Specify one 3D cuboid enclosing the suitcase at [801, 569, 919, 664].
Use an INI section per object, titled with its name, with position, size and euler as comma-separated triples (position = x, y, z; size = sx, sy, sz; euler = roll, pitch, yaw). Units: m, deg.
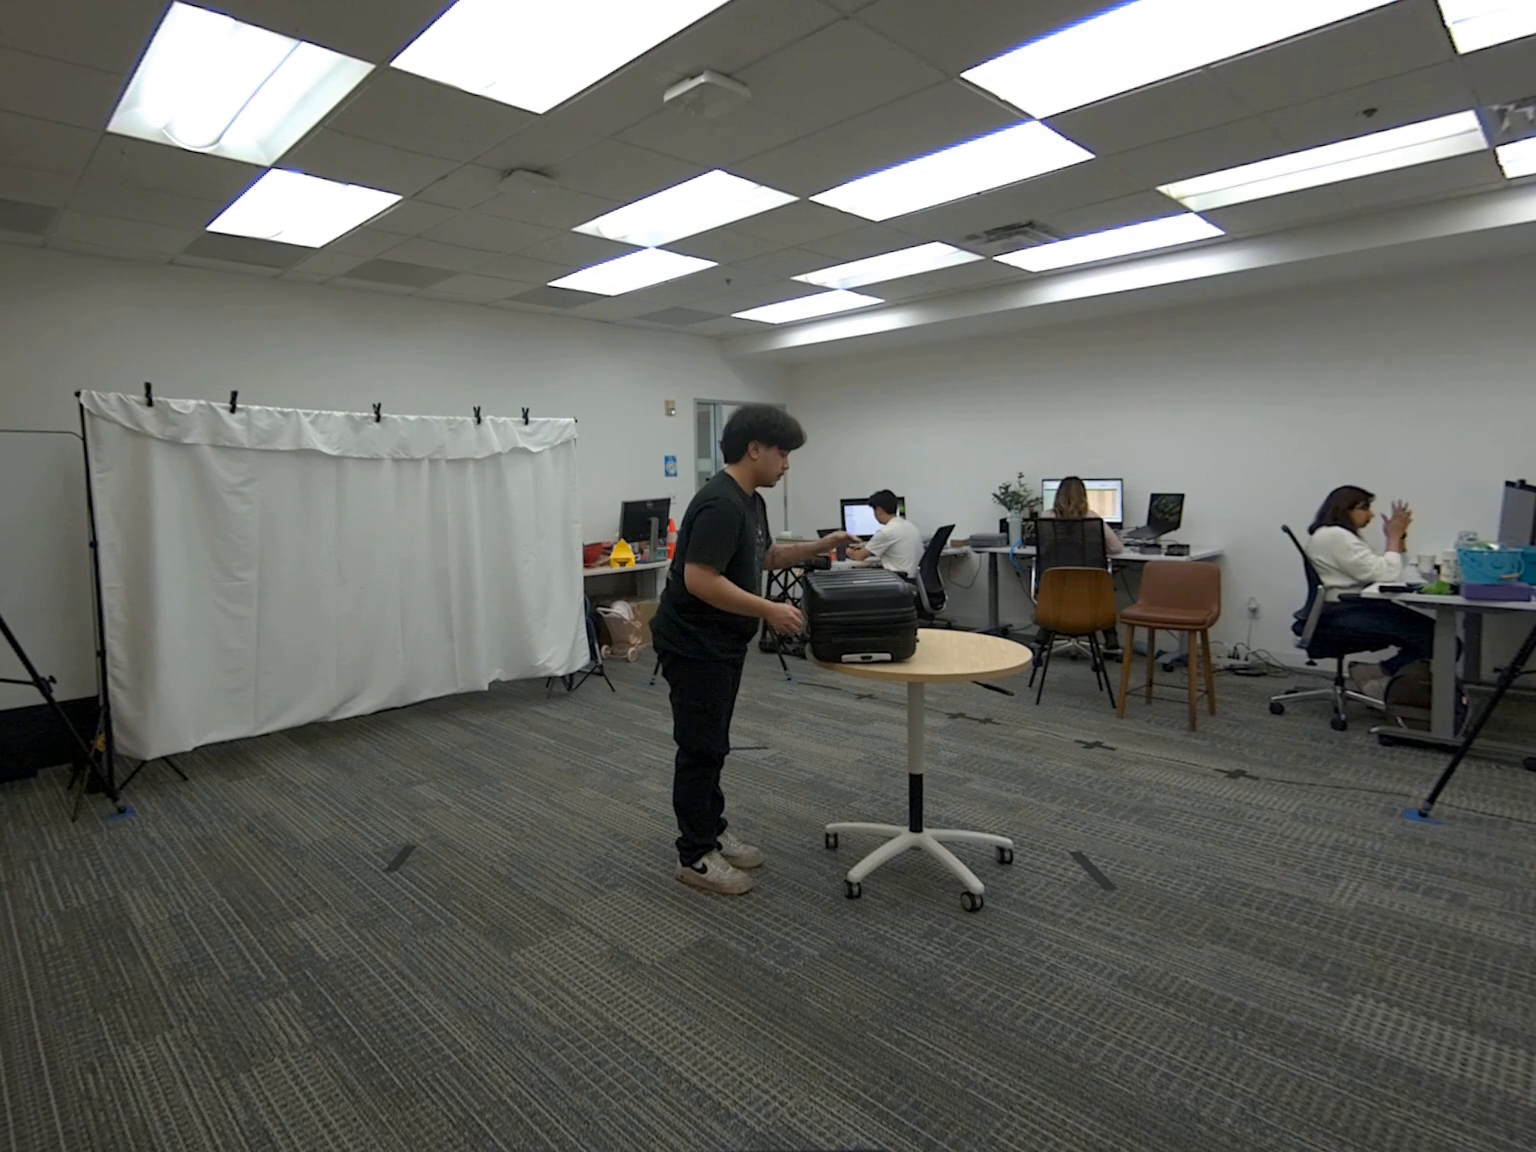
[suitcase]
position = 0.303, 0.133, 2.980
size = 0.376, 0.247, 0.551
euler = -2, 7, 1
